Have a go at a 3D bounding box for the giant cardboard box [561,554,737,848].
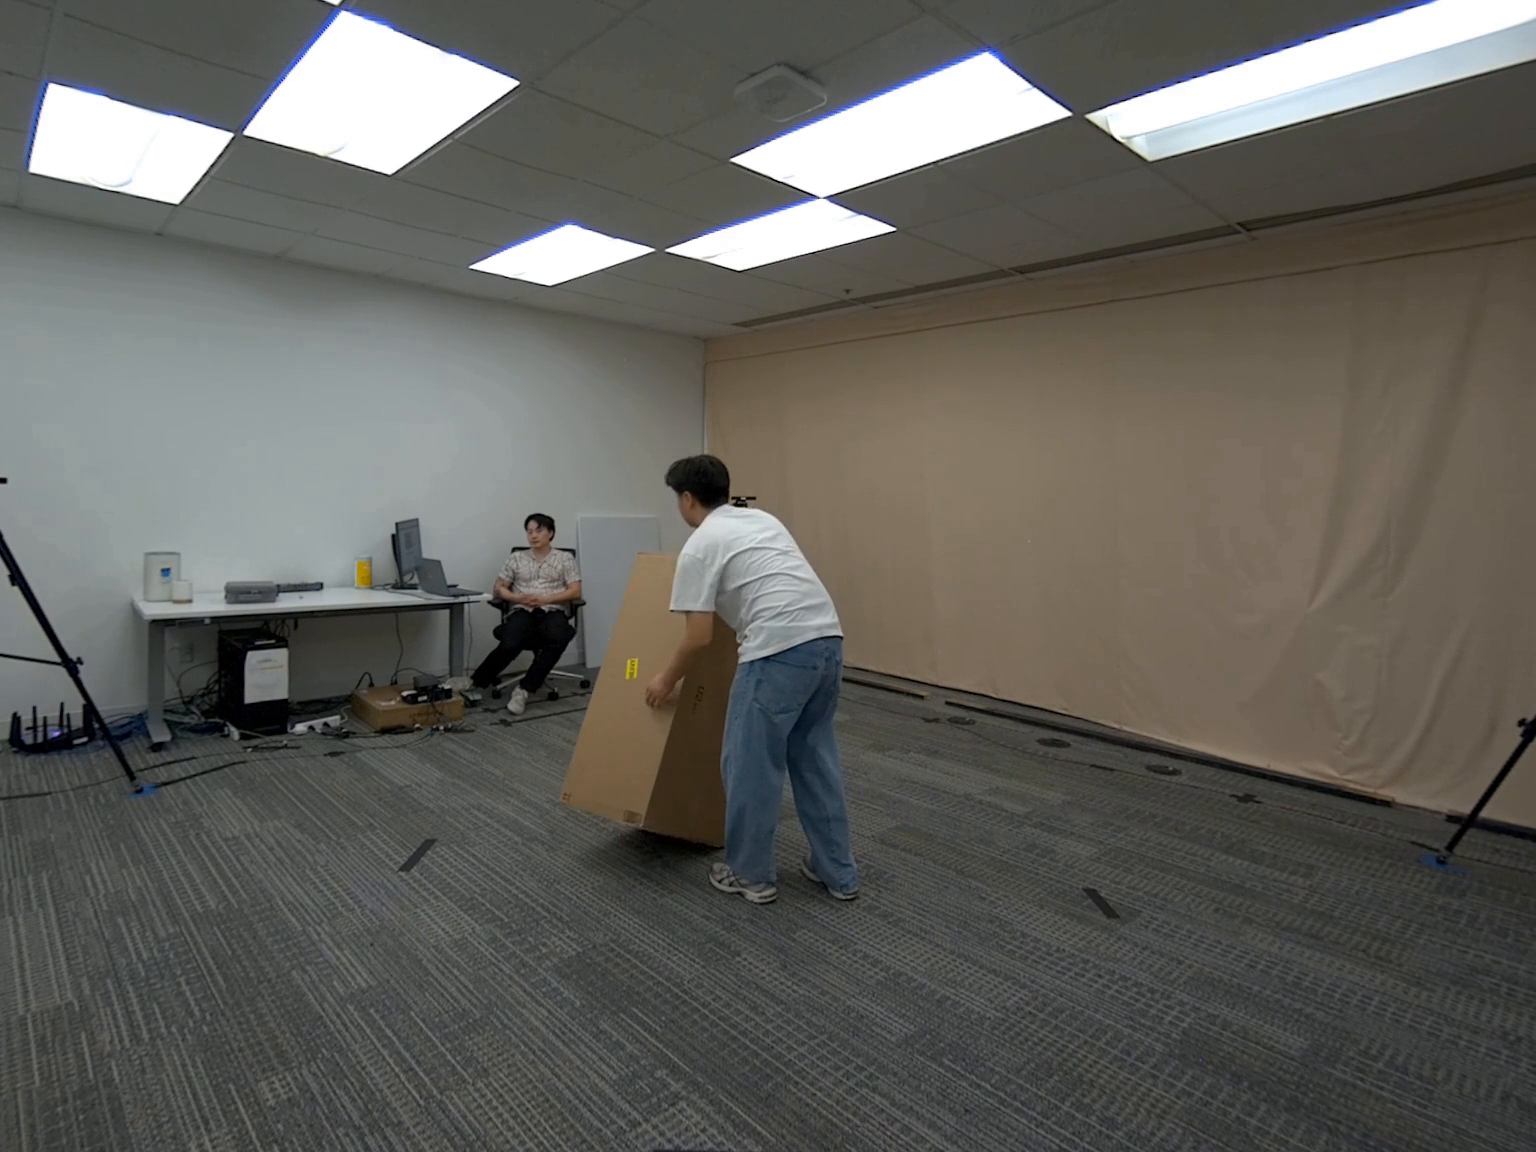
[{"bbox_3d":[-0.364,0.498,3.414,0.436,1.034,0.559,4,-20,34],"label":"giant cardboard box"}]
